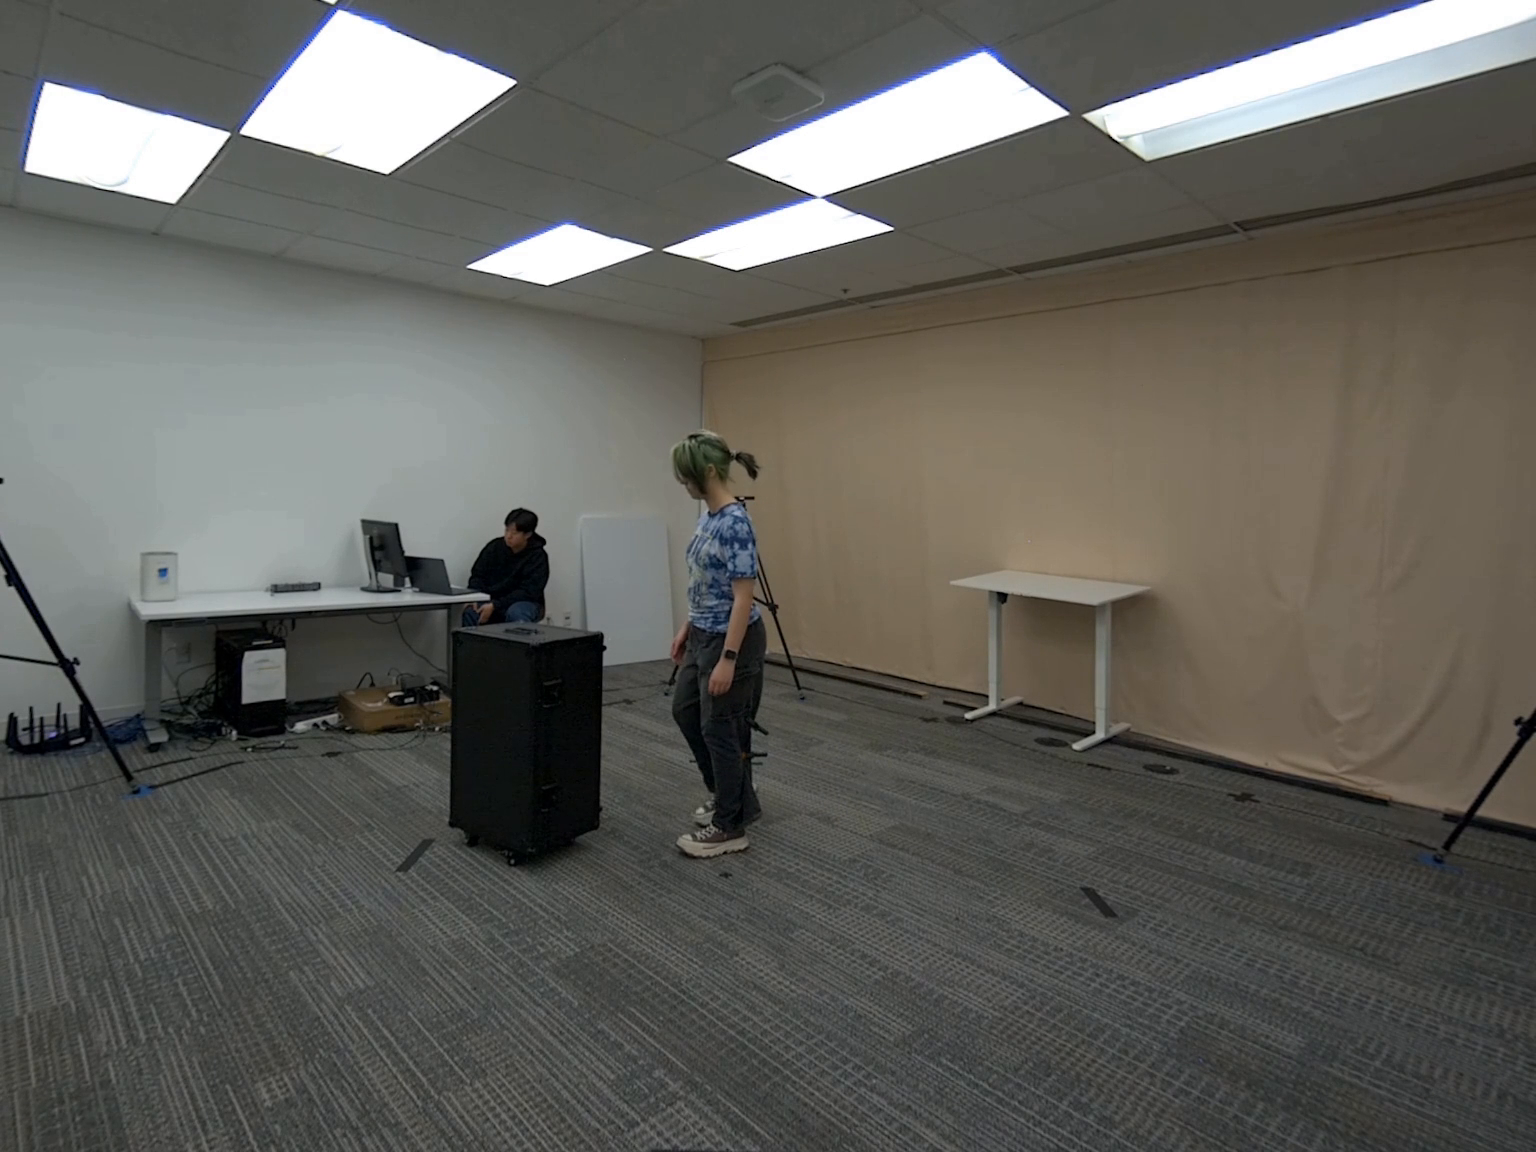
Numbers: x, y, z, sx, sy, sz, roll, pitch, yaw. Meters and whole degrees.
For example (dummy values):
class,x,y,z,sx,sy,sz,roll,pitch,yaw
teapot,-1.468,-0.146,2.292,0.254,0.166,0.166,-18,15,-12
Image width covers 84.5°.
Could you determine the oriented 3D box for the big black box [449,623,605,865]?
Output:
class,x,y,z,sx,sy,sz,roll,pitch,yaw
big black box,-0.965,0.642,3.319,0.533,0.860,0.388,3,3,33
